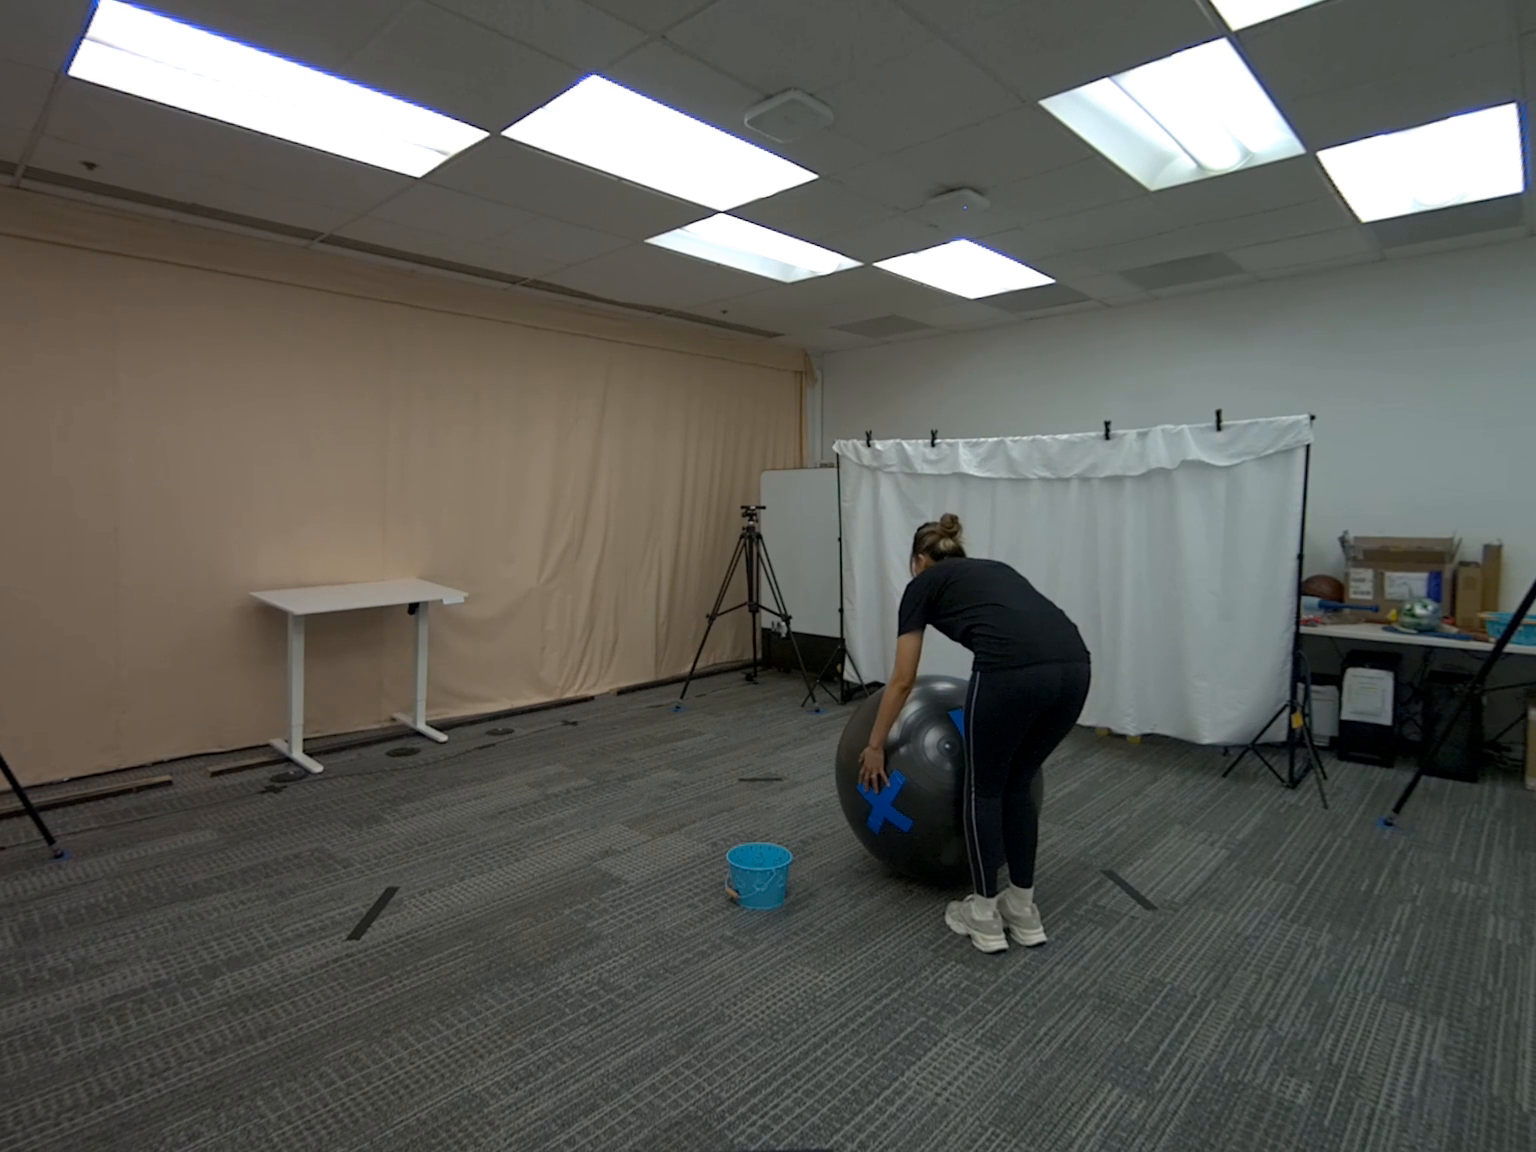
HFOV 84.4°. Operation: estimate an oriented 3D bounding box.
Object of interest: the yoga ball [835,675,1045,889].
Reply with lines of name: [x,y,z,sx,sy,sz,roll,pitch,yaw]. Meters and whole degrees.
yoga ball: [0.642,0.757,3.181,0.757,0.756,0.760,0,4,-2]
